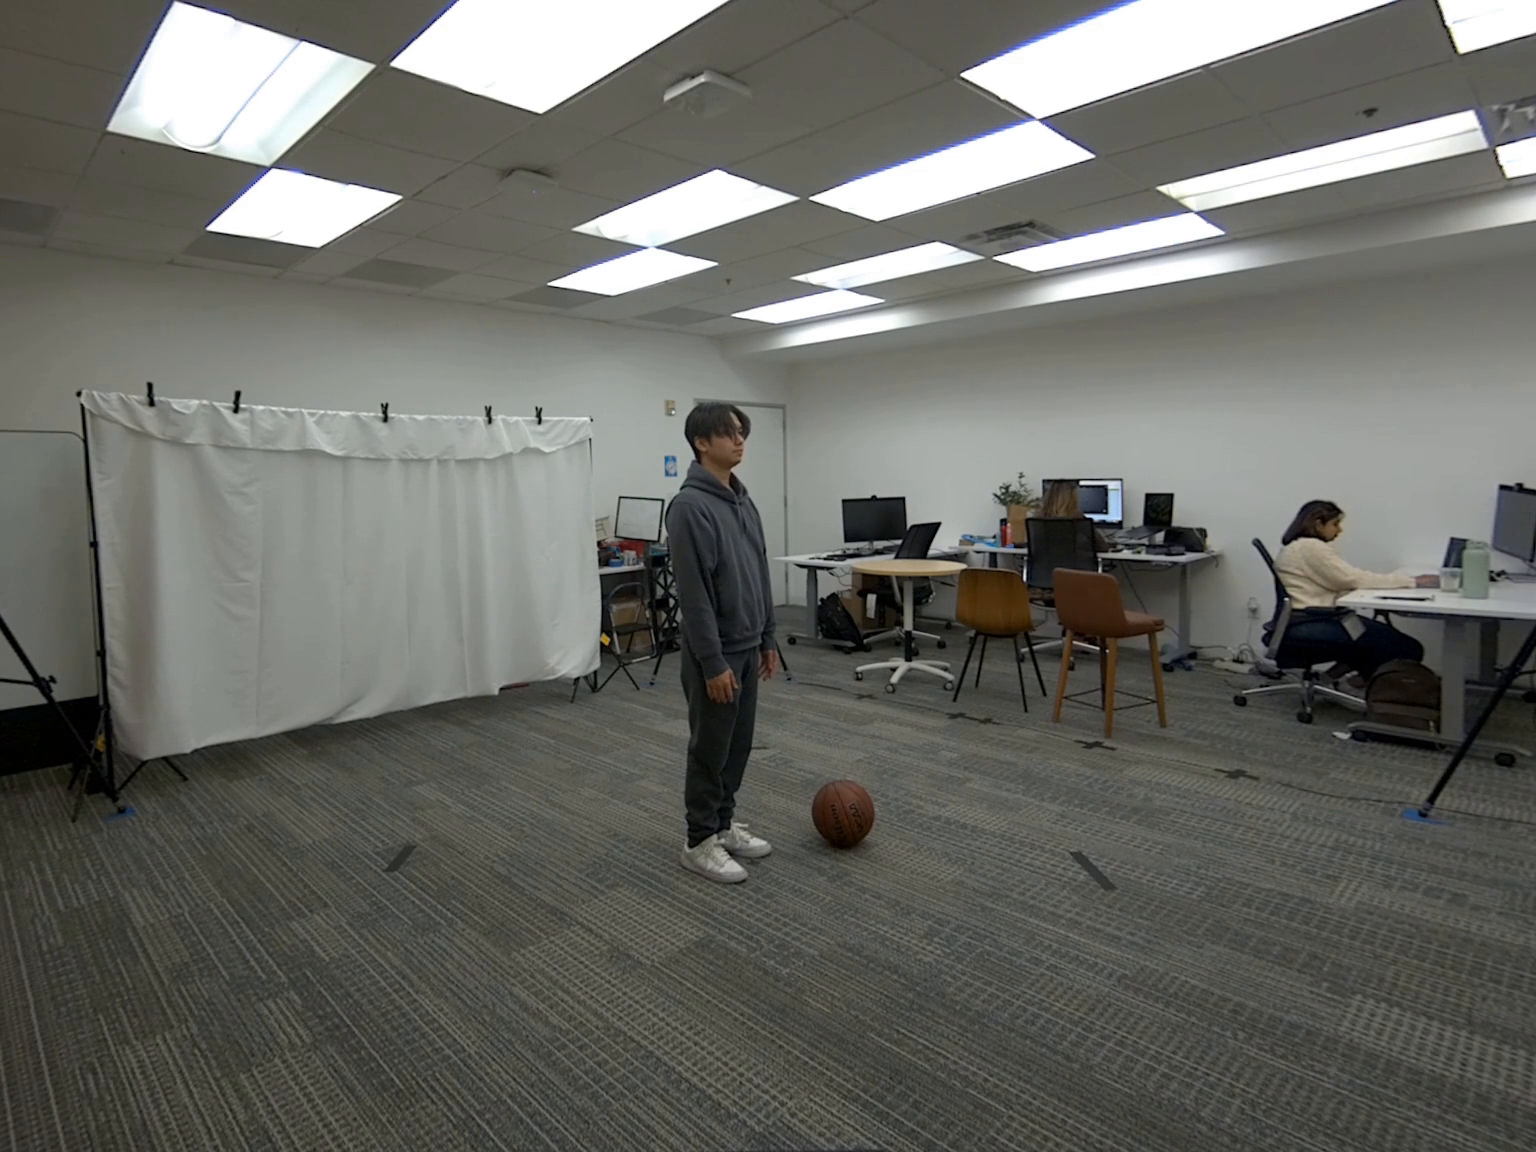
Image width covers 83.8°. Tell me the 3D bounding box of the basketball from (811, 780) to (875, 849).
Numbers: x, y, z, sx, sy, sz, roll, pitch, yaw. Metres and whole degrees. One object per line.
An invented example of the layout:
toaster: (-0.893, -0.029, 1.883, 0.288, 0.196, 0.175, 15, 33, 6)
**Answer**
basketball: (0.290, 0.899, 3.260, 0.236, 0.235, 0.237, -1, 5, -2)
